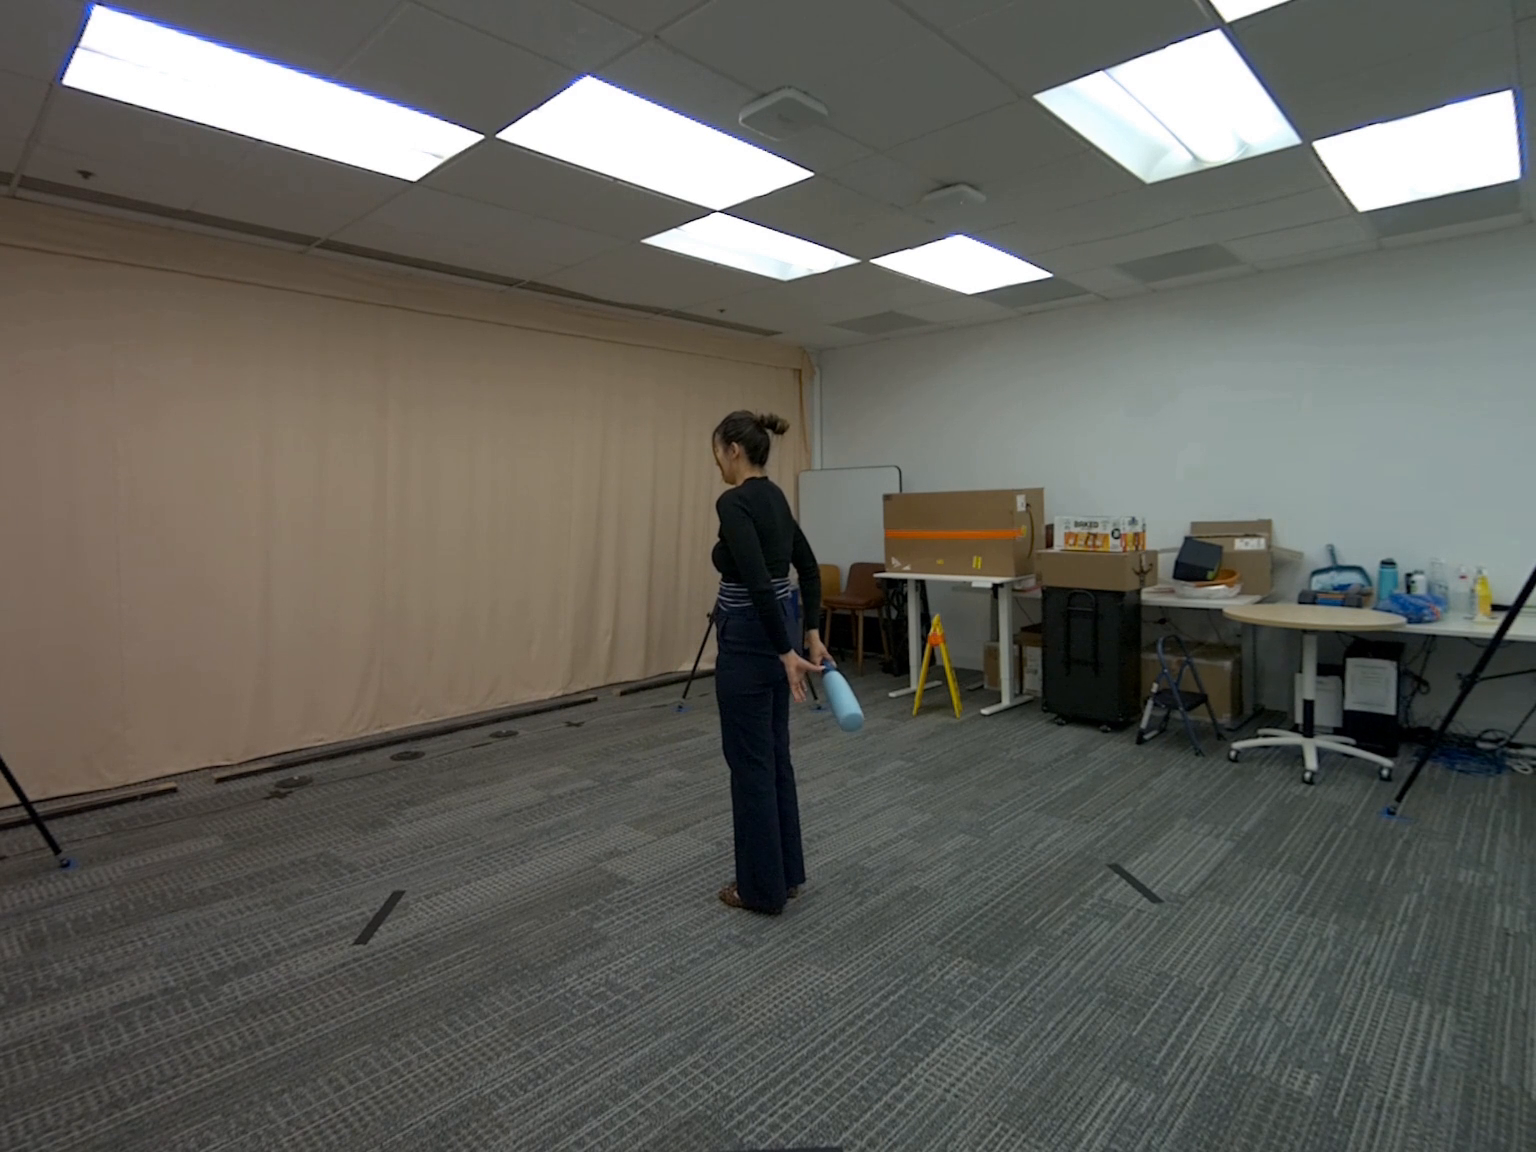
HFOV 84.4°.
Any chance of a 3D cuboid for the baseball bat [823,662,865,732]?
[{"bbox_3d":[0.210,0.342,2.938,0.088,0.088,0.557,-2,28,-13],"label":"baseball bat"}]
